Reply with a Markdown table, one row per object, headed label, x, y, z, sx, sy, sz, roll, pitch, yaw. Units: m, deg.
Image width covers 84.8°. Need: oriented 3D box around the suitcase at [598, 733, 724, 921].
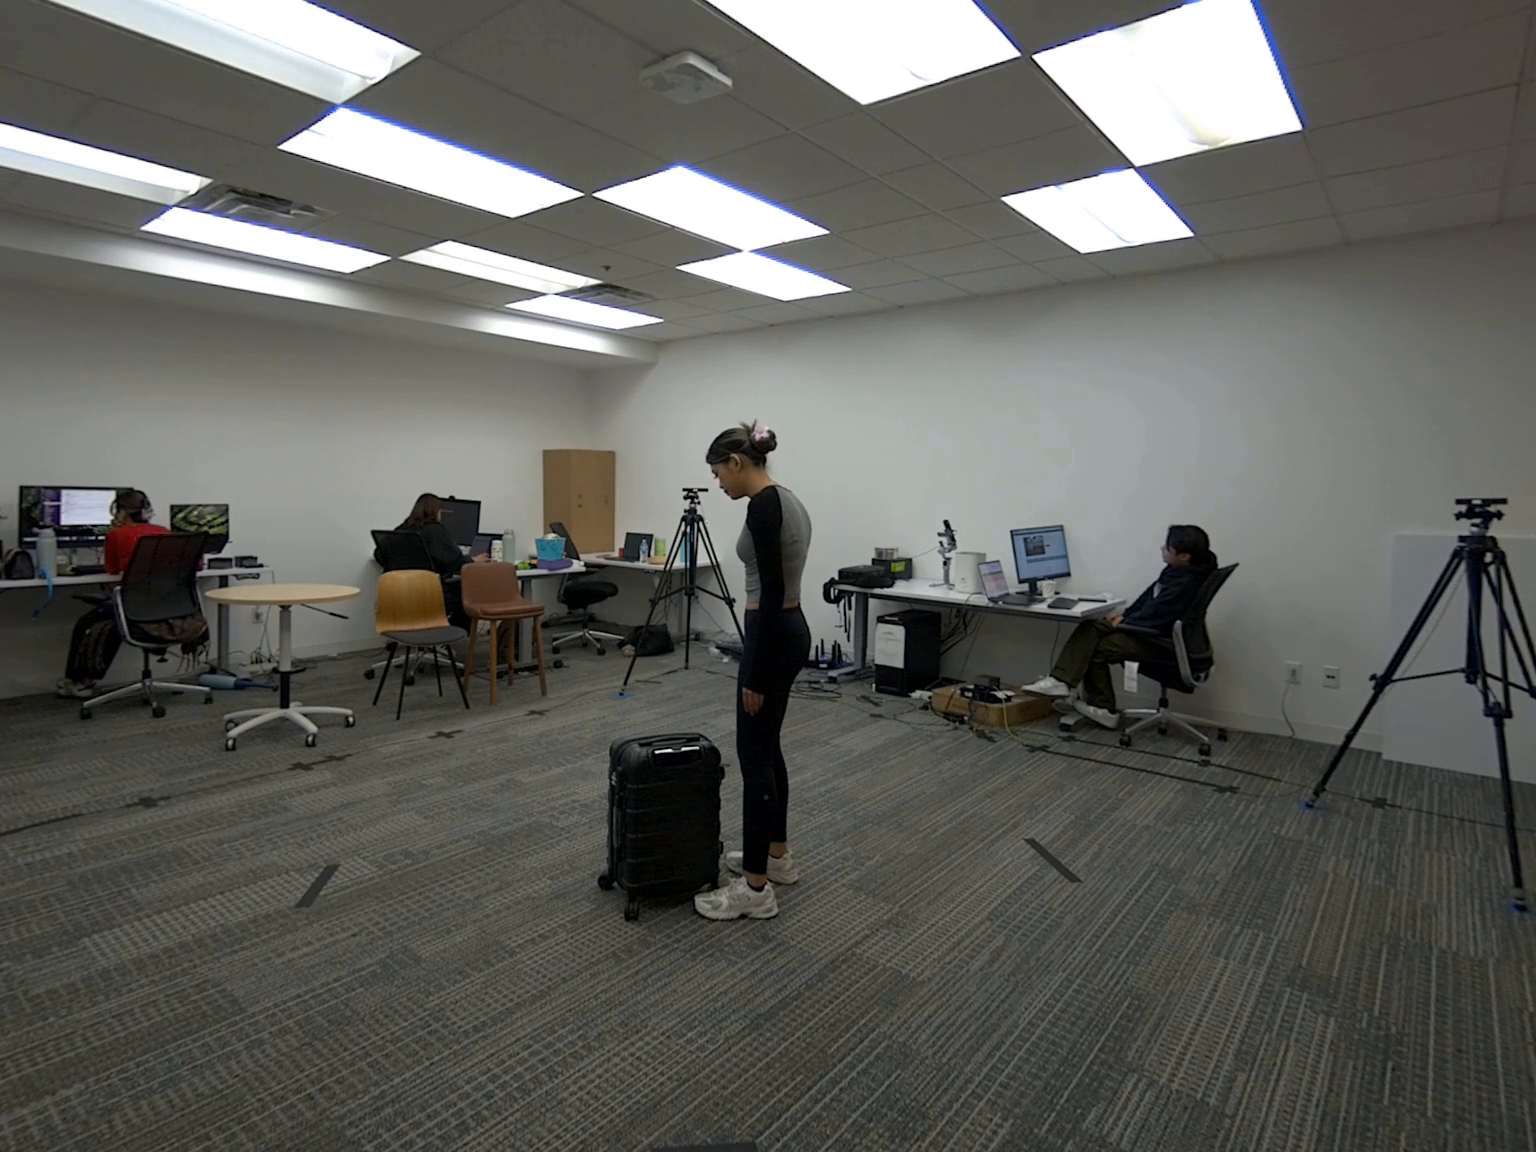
| label | x | y | z | sx | sy | sz | roll | pitch | yaw |
| --- | --- | --- | --- | --- | --- | --- | --- | --- | --- |
| suitcase | -0.368 | 0.809 | 2.899 | 0.366 | 0.548 | 0.255 | 0 | 3 | -25 |
